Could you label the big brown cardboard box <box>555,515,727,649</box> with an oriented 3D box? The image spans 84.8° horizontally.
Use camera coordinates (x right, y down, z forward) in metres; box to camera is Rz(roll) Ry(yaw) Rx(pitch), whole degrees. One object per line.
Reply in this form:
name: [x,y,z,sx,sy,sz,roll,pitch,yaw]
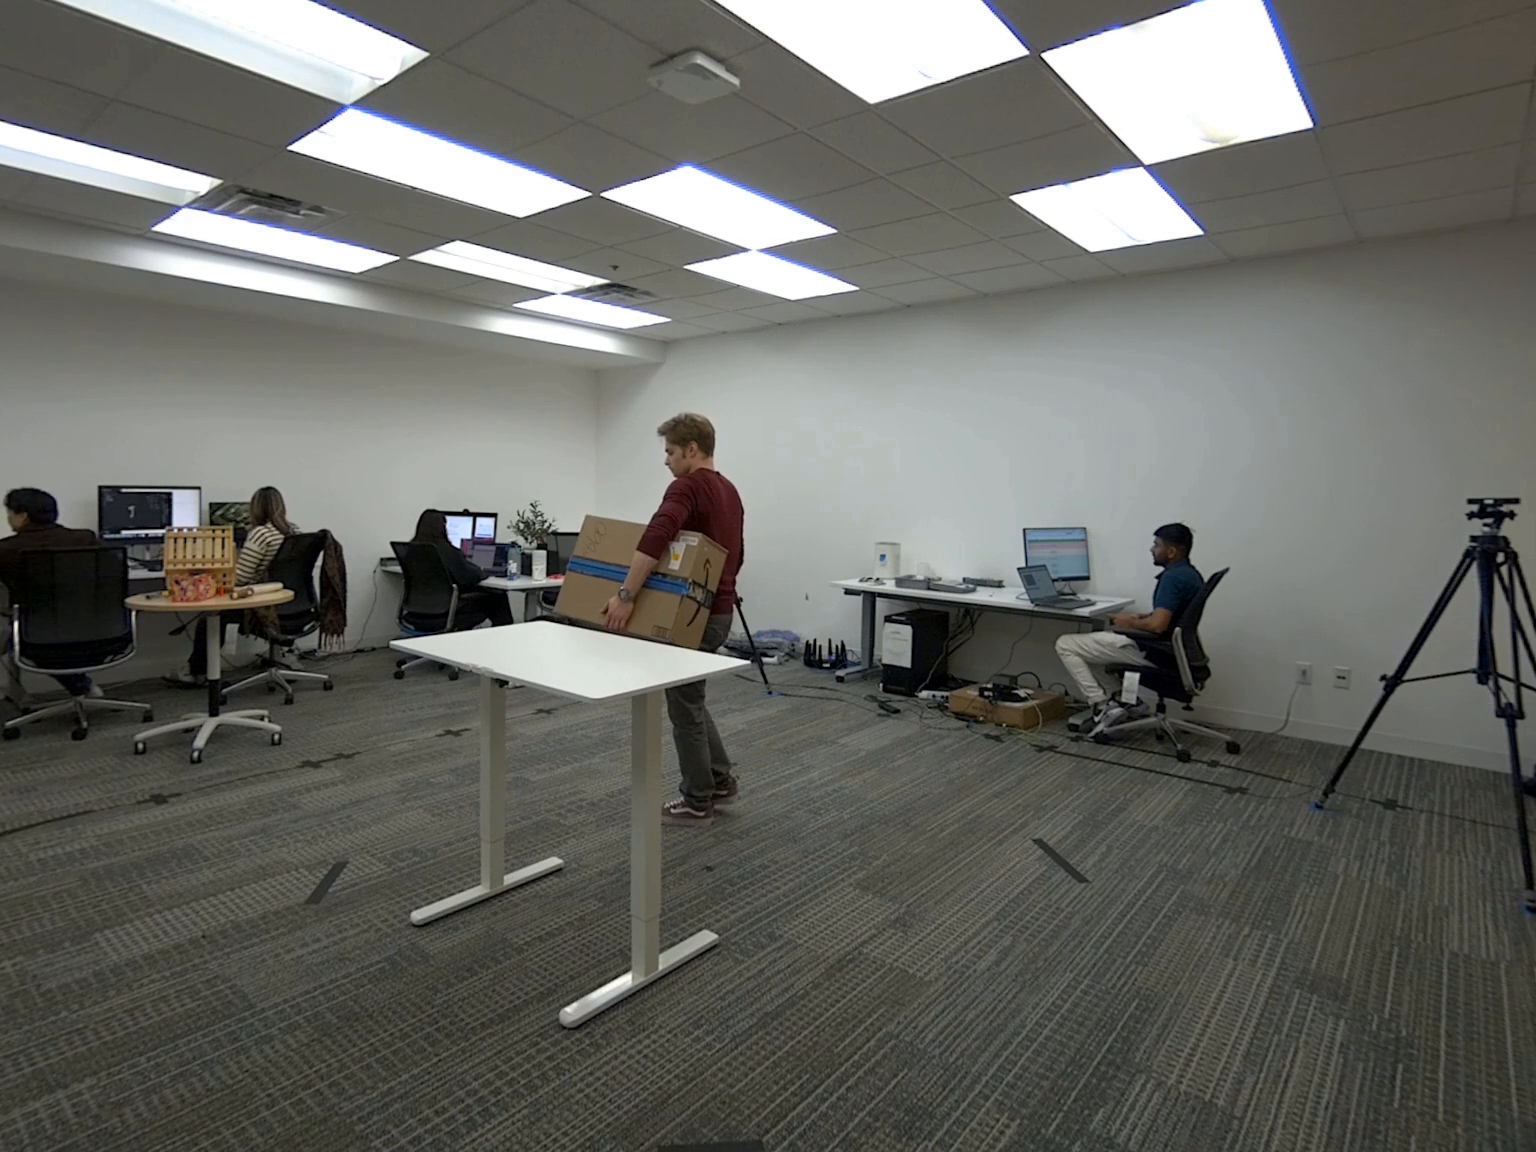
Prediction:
big brown cardboard box: [-0.498,0.025,3.313,0.608,0.420,0.224,9,-12,30]
